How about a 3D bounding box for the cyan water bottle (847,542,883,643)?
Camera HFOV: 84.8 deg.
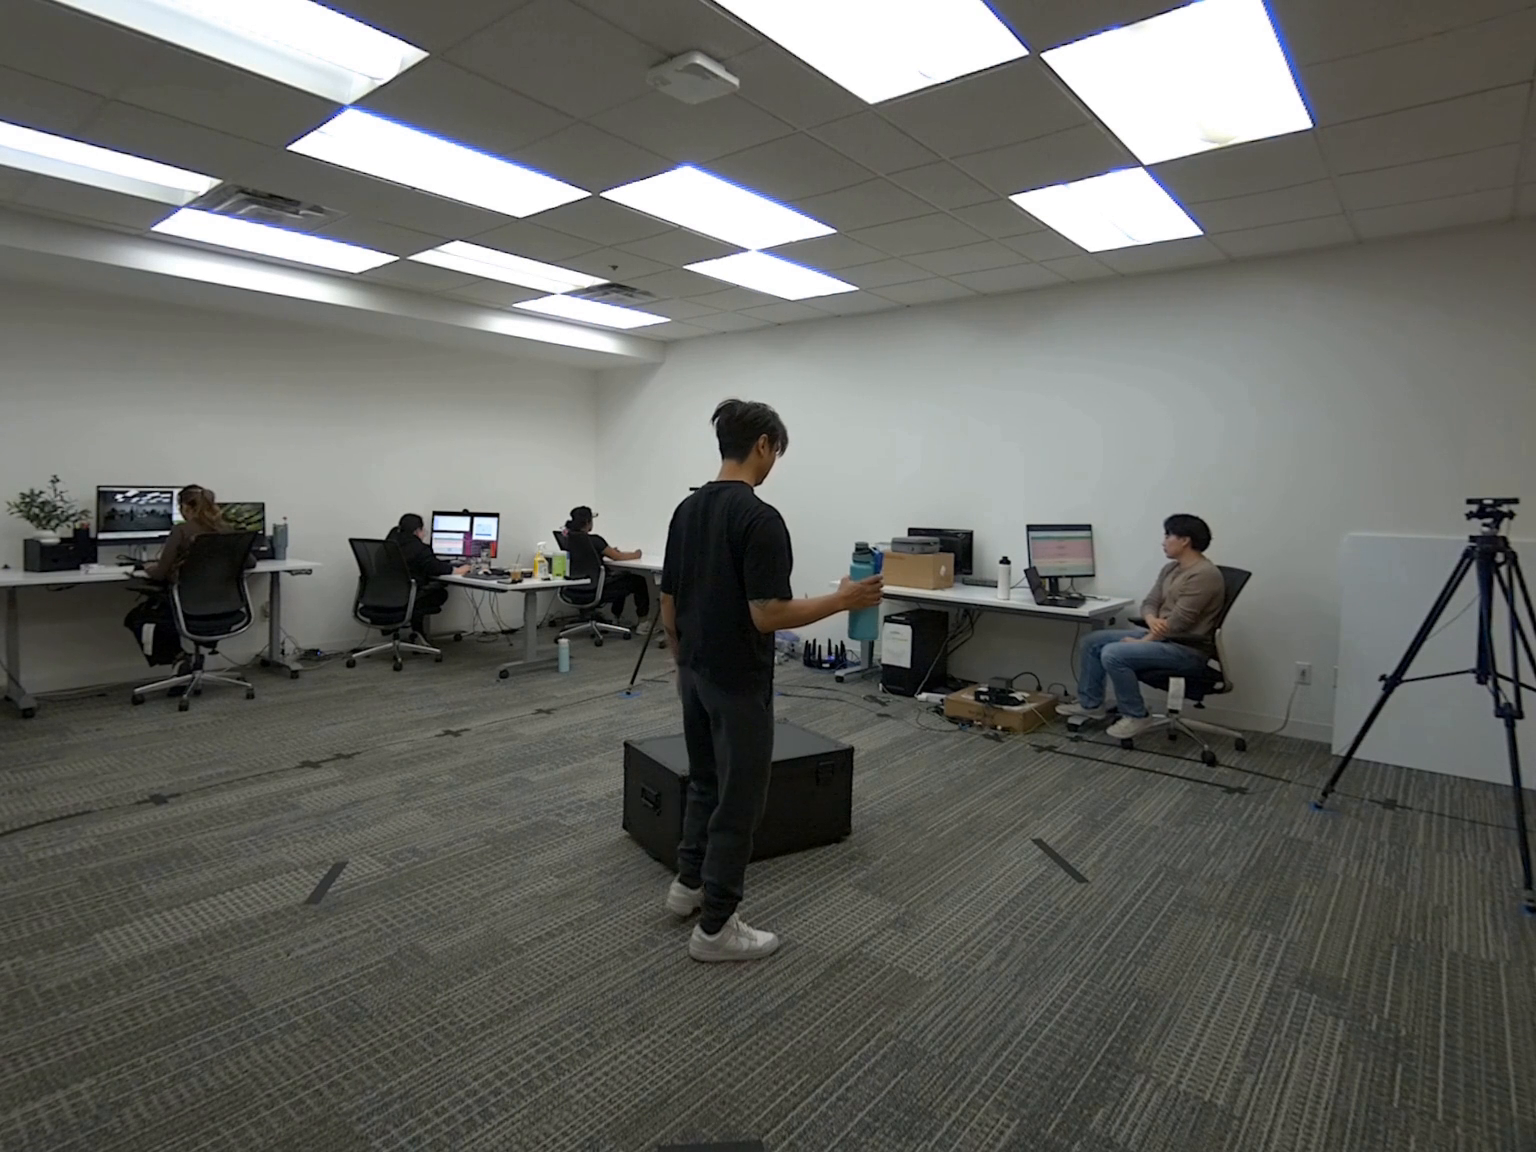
[{"bbox_3d":[0.271,0.046,2.484,0.092,0.281,0.093,3,8,-2],"label":"cyan water bottle"}]
